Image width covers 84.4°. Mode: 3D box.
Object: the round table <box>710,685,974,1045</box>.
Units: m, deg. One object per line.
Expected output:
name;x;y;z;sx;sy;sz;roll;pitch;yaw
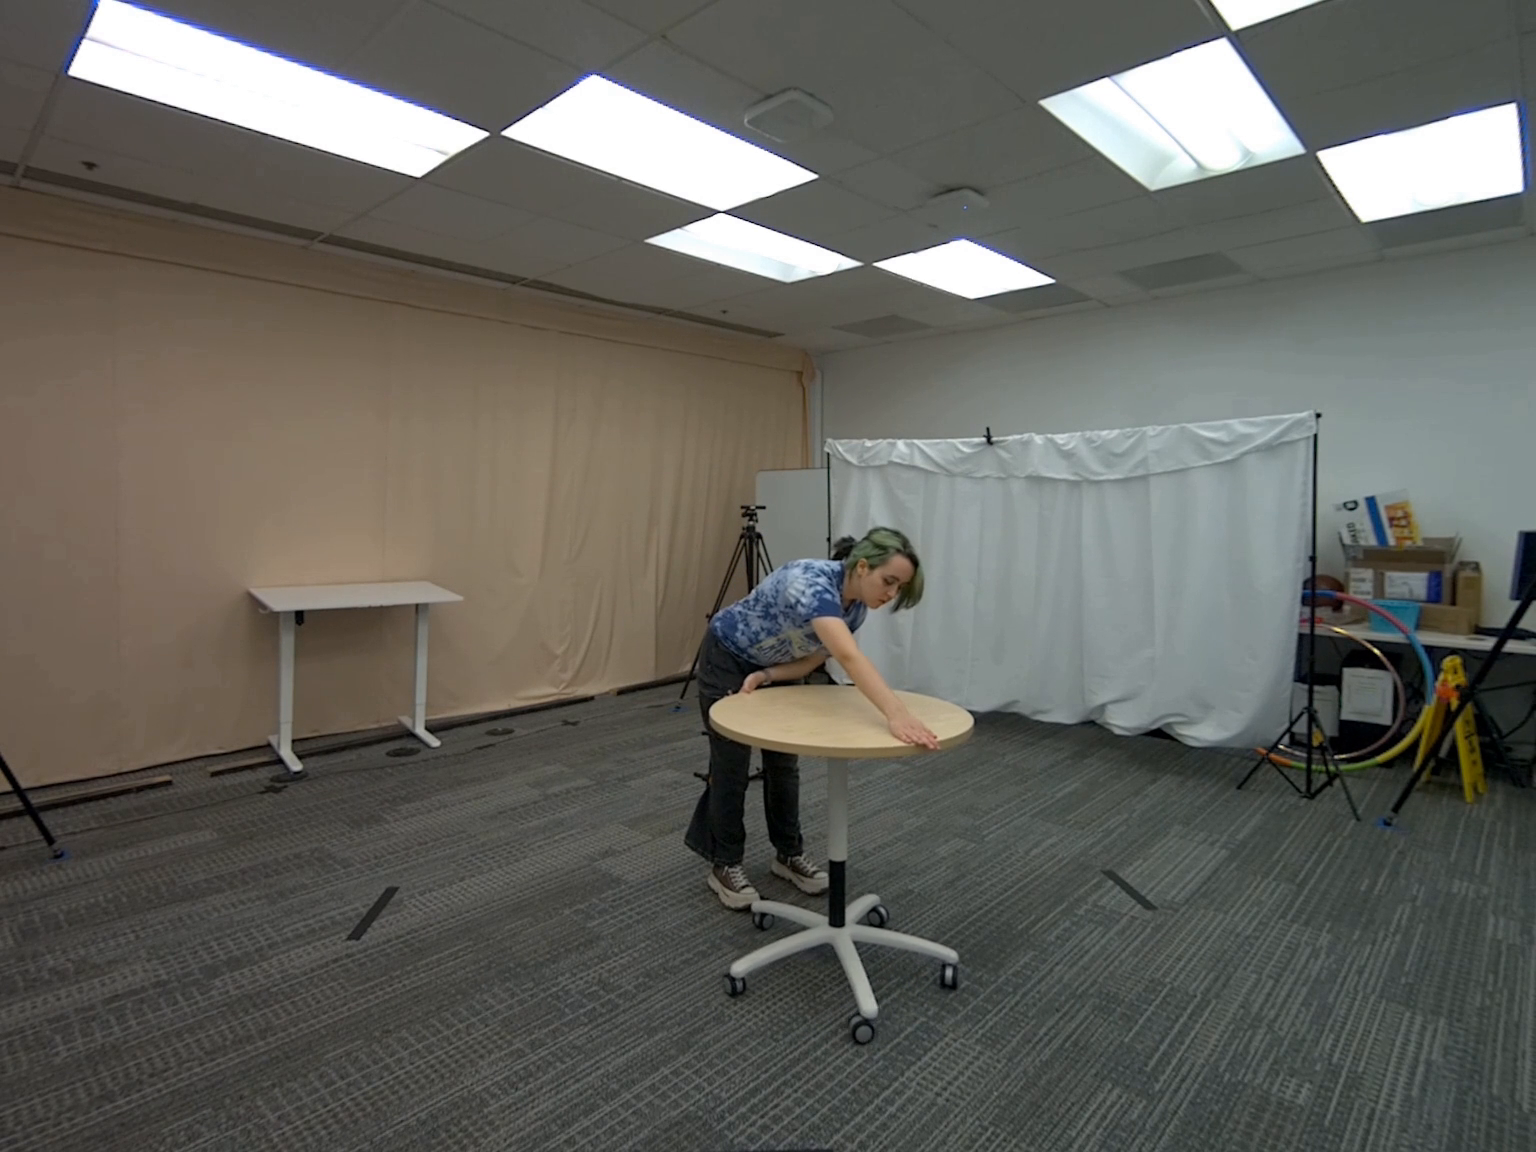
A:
round table;0.217;0.796;2.509;0.763;0.792;0.766;0;4;-2
